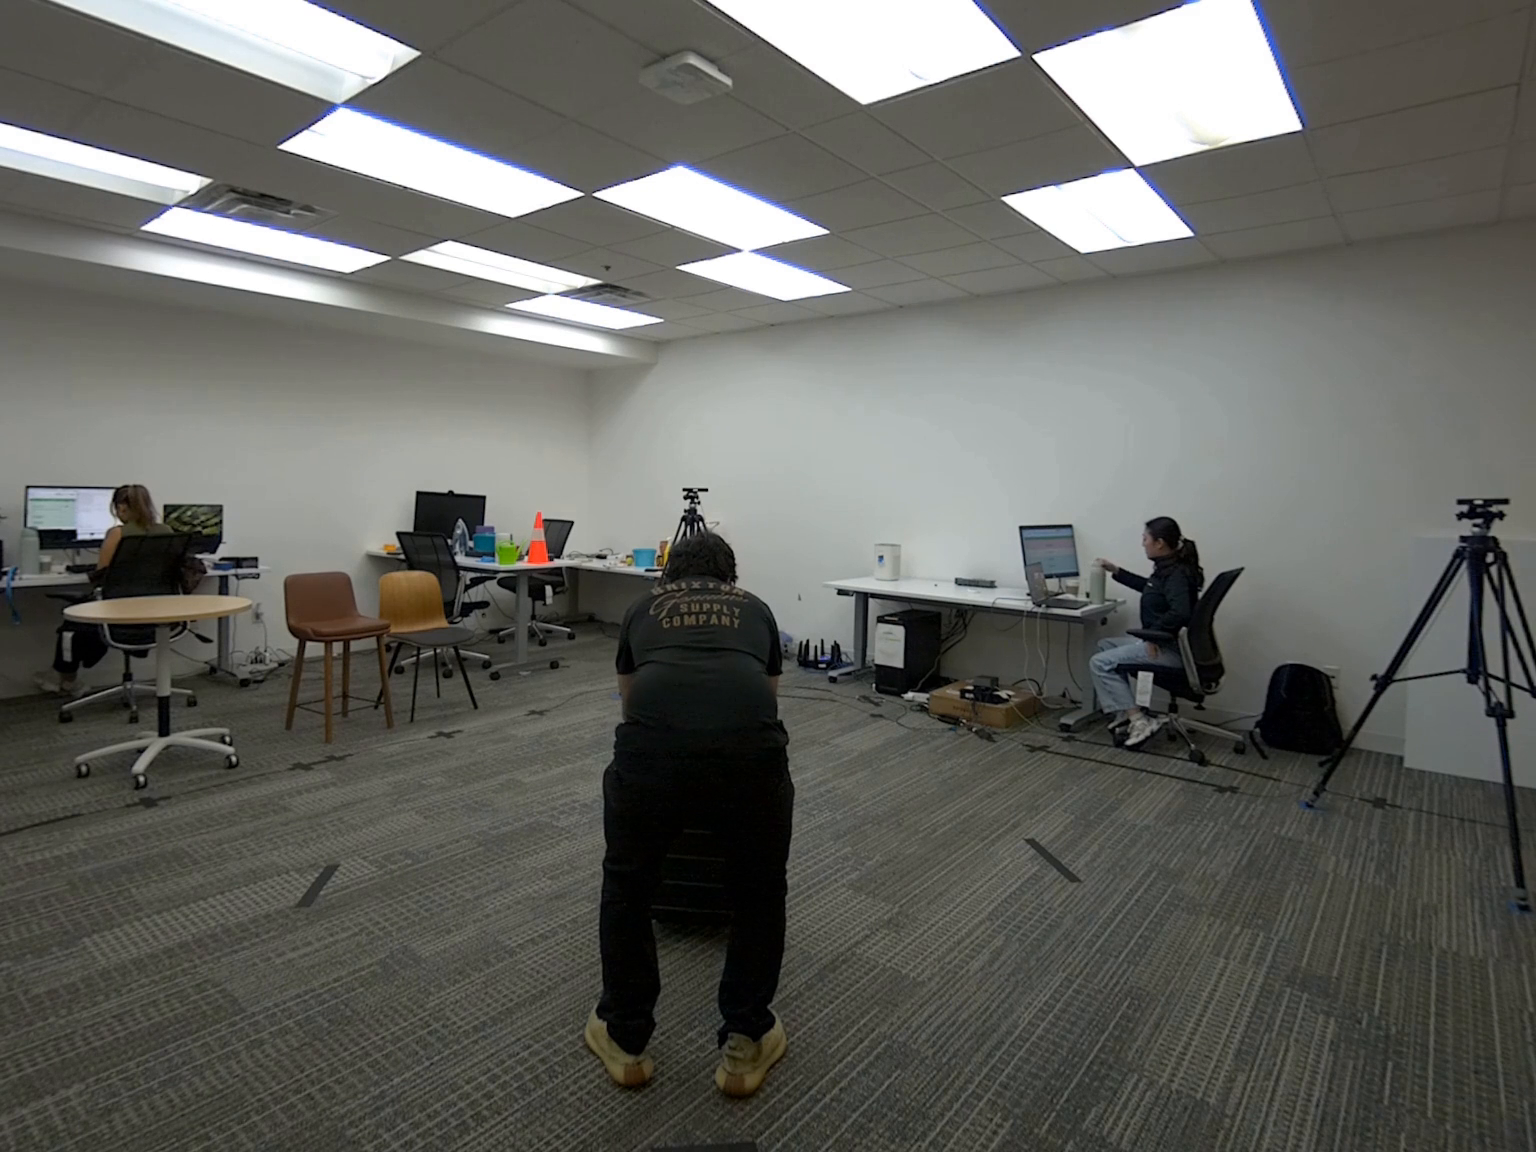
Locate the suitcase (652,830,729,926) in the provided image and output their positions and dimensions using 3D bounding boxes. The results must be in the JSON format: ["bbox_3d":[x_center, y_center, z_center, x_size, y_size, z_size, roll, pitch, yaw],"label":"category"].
[{"bbox_3d":[-0.237,0.829,2.707,0.378,0.549,0.247,1,0,5],"label":"suitcase"}]
